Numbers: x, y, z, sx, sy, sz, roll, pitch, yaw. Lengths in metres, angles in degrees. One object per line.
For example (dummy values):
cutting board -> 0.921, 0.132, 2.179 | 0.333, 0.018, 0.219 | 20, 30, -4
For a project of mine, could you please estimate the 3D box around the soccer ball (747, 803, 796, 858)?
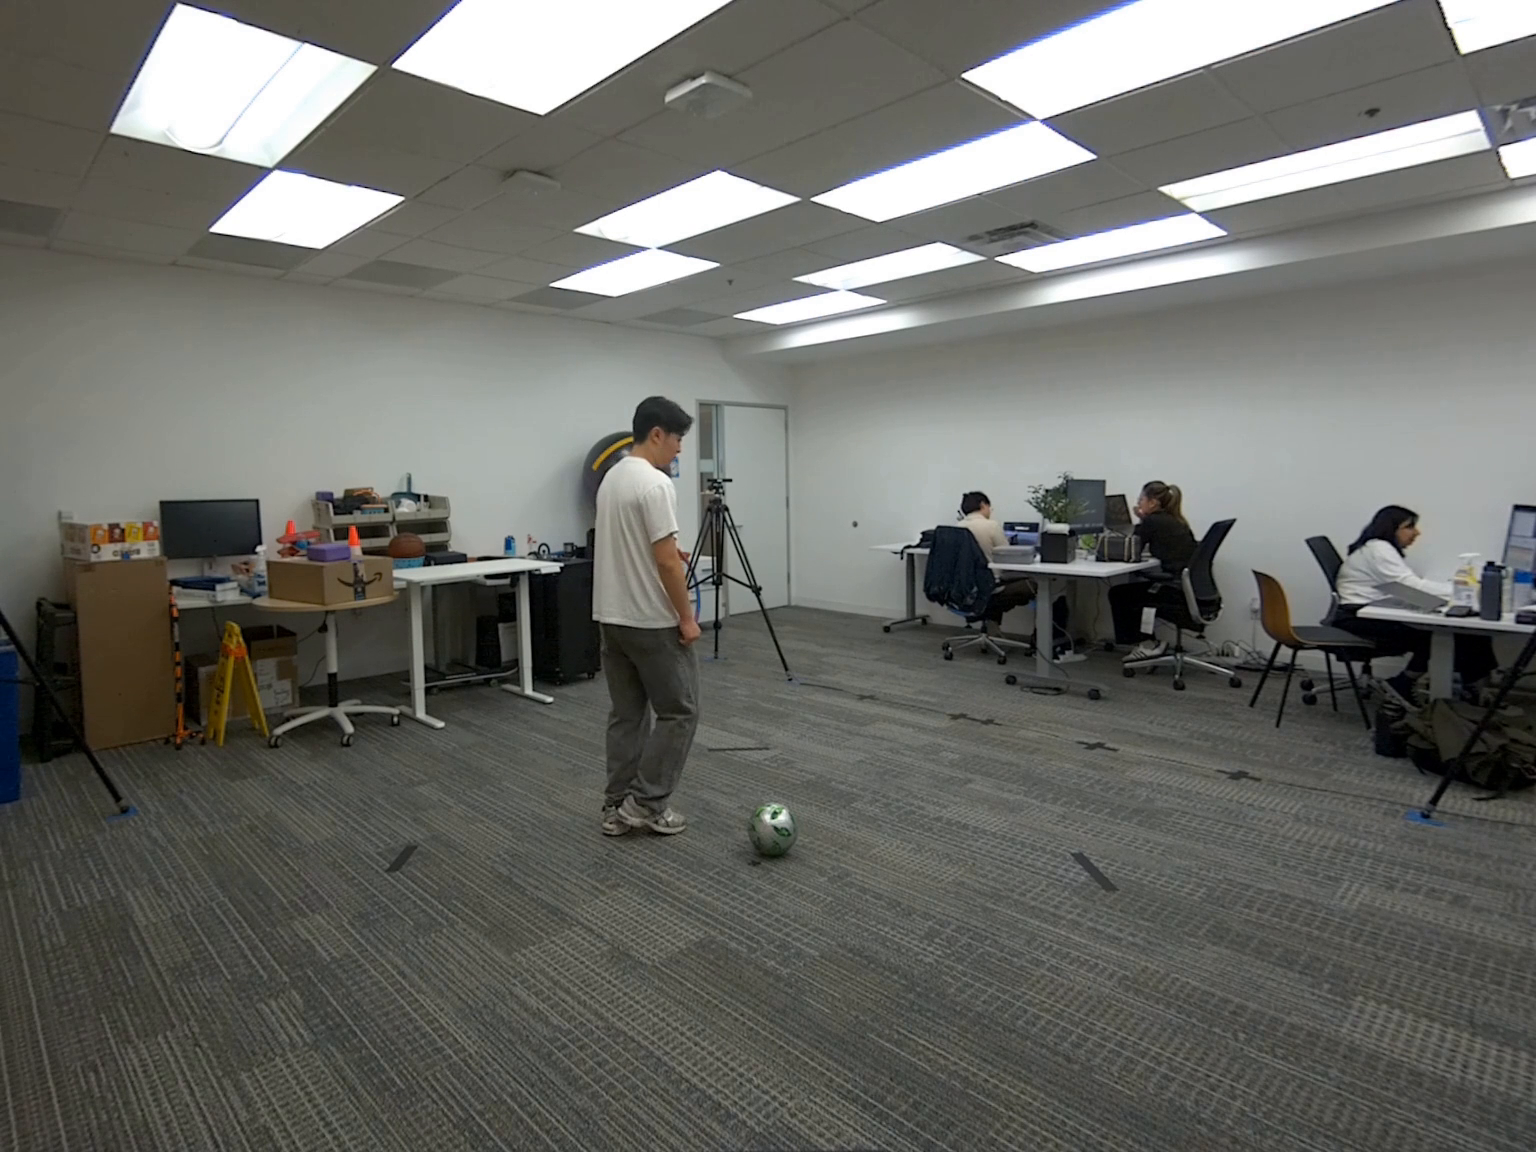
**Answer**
soccer ball -> 0.020, 0.942, 3.184 | 0.187, 0.187, 0.188 | -1, 5, -2
